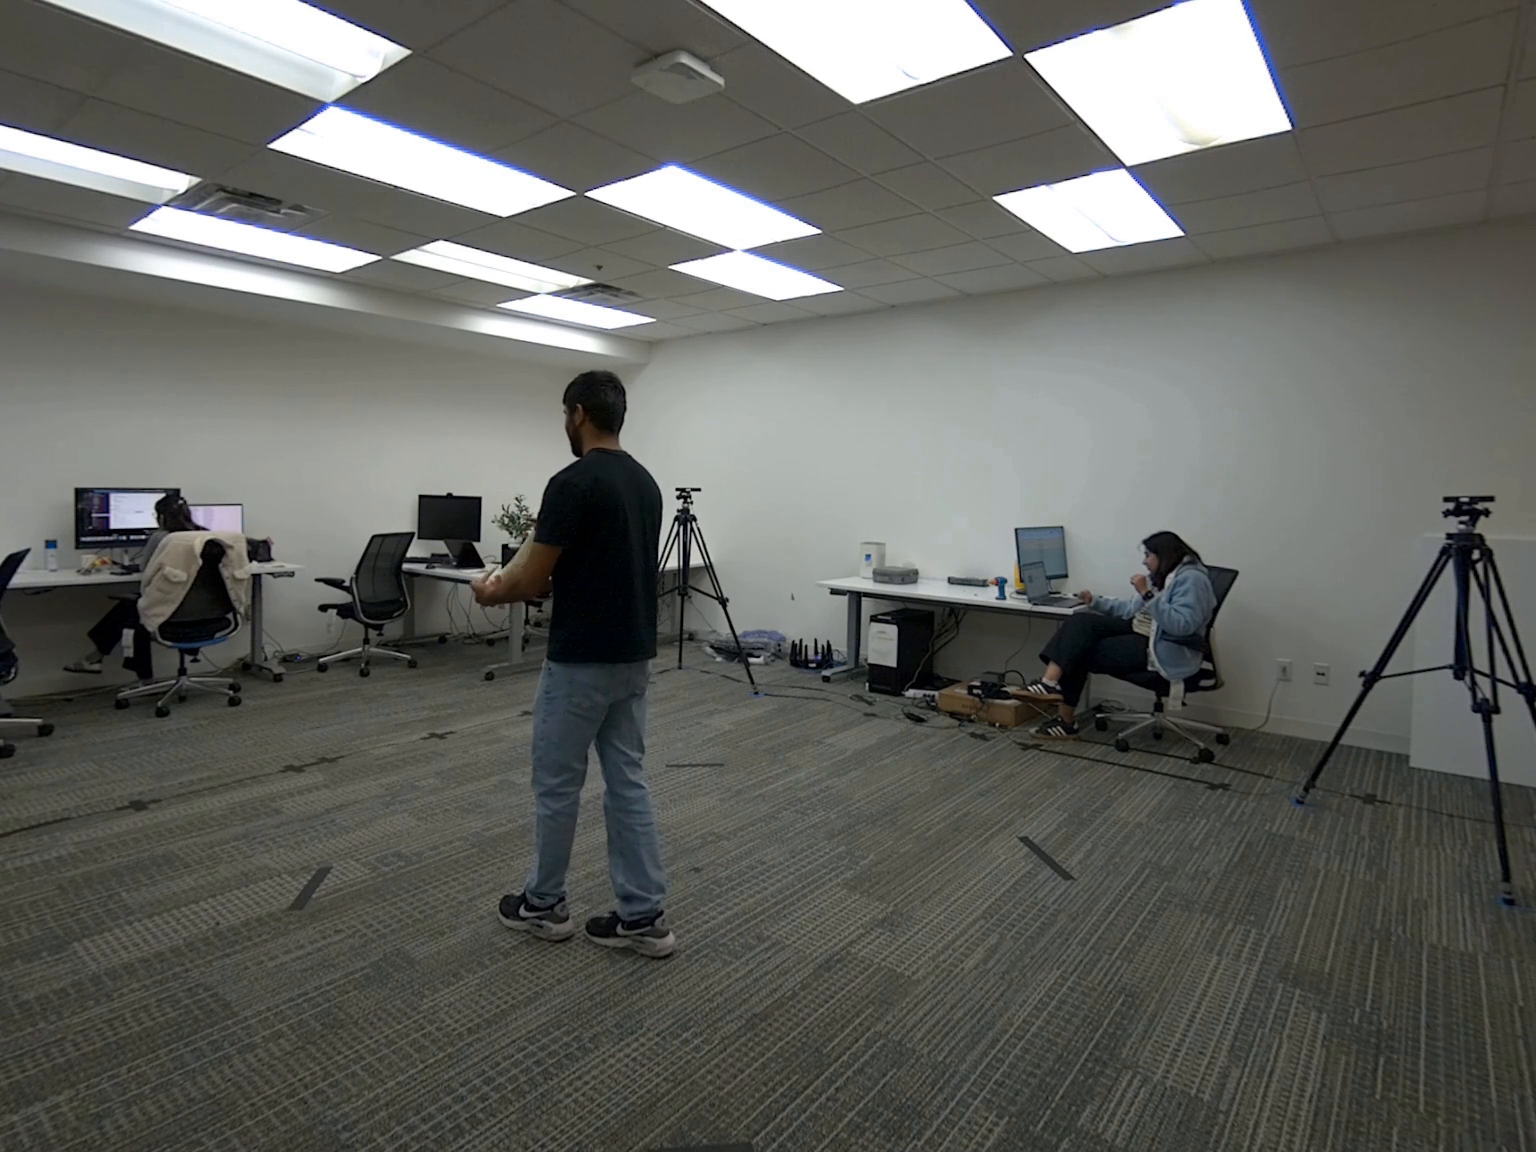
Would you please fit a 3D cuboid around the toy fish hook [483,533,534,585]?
[{"bbox_3d":[-0.792,-0.096,2.692,0.048,0.507,0.225,43,24,-5],"label":"toy fish hook"}]
